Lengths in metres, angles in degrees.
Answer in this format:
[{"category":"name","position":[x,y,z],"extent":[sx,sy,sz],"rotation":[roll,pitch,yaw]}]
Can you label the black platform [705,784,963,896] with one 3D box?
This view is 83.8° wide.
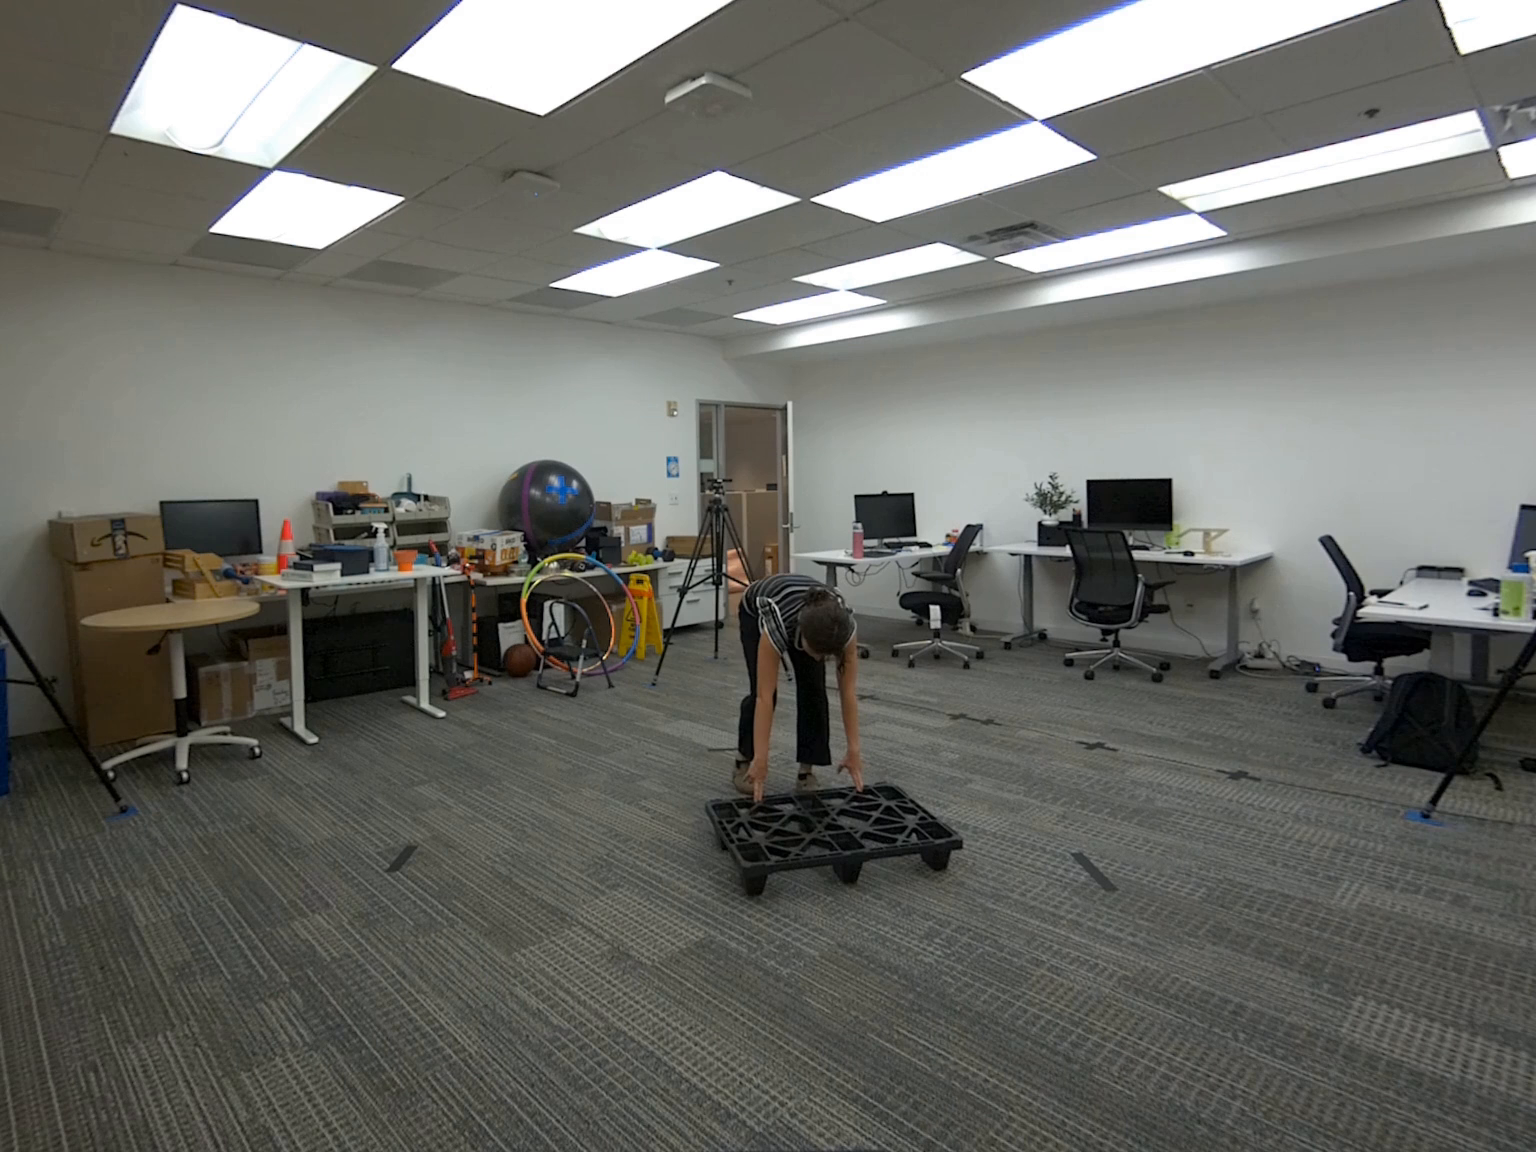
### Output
[{"category":"black platform","position":[0.219,0.963,3.165],"extent":[0.795,0.142,0.616],"rotation":[-3,7,-14]}]
